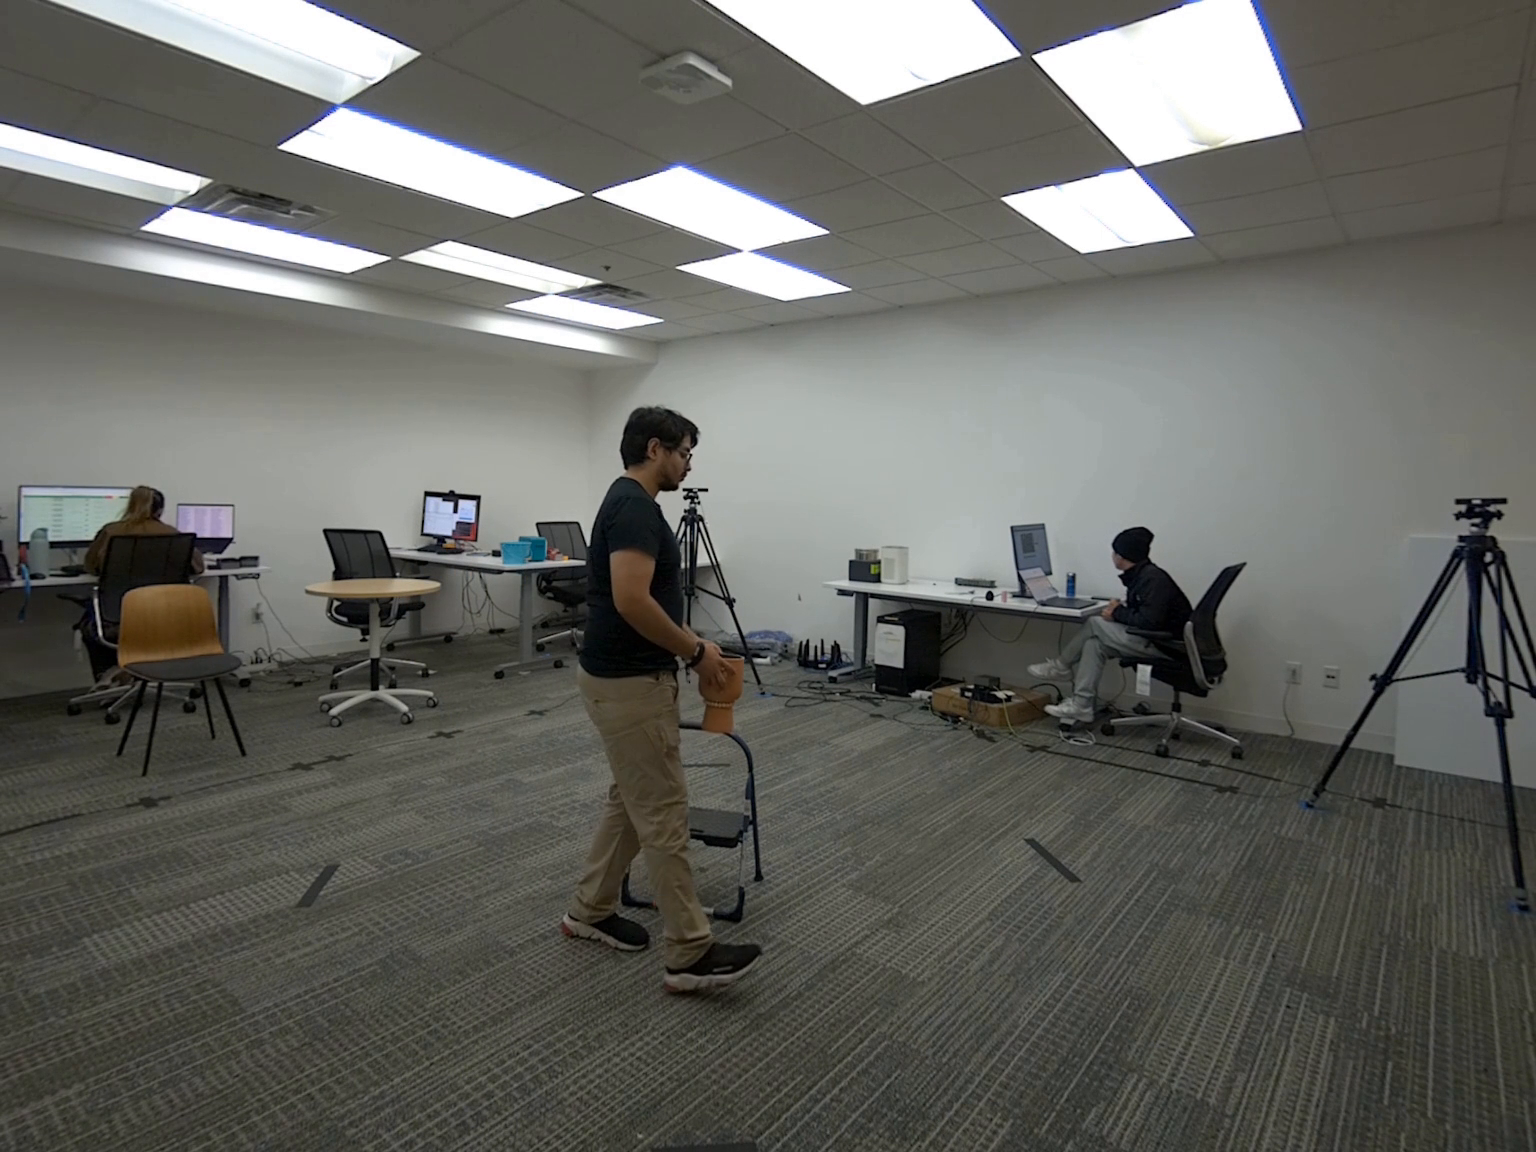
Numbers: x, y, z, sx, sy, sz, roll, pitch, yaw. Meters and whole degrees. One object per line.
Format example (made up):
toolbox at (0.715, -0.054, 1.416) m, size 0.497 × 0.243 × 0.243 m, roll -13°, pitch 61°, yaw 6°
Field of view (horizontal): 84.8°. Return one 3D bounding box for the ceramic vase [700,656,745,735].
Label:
ceramic vase at (-0.153, 0.350, 2.531) m, size 0.138 × 0.219 × 0.154 m, roll 5°, pitch 2°, yaw 29°
